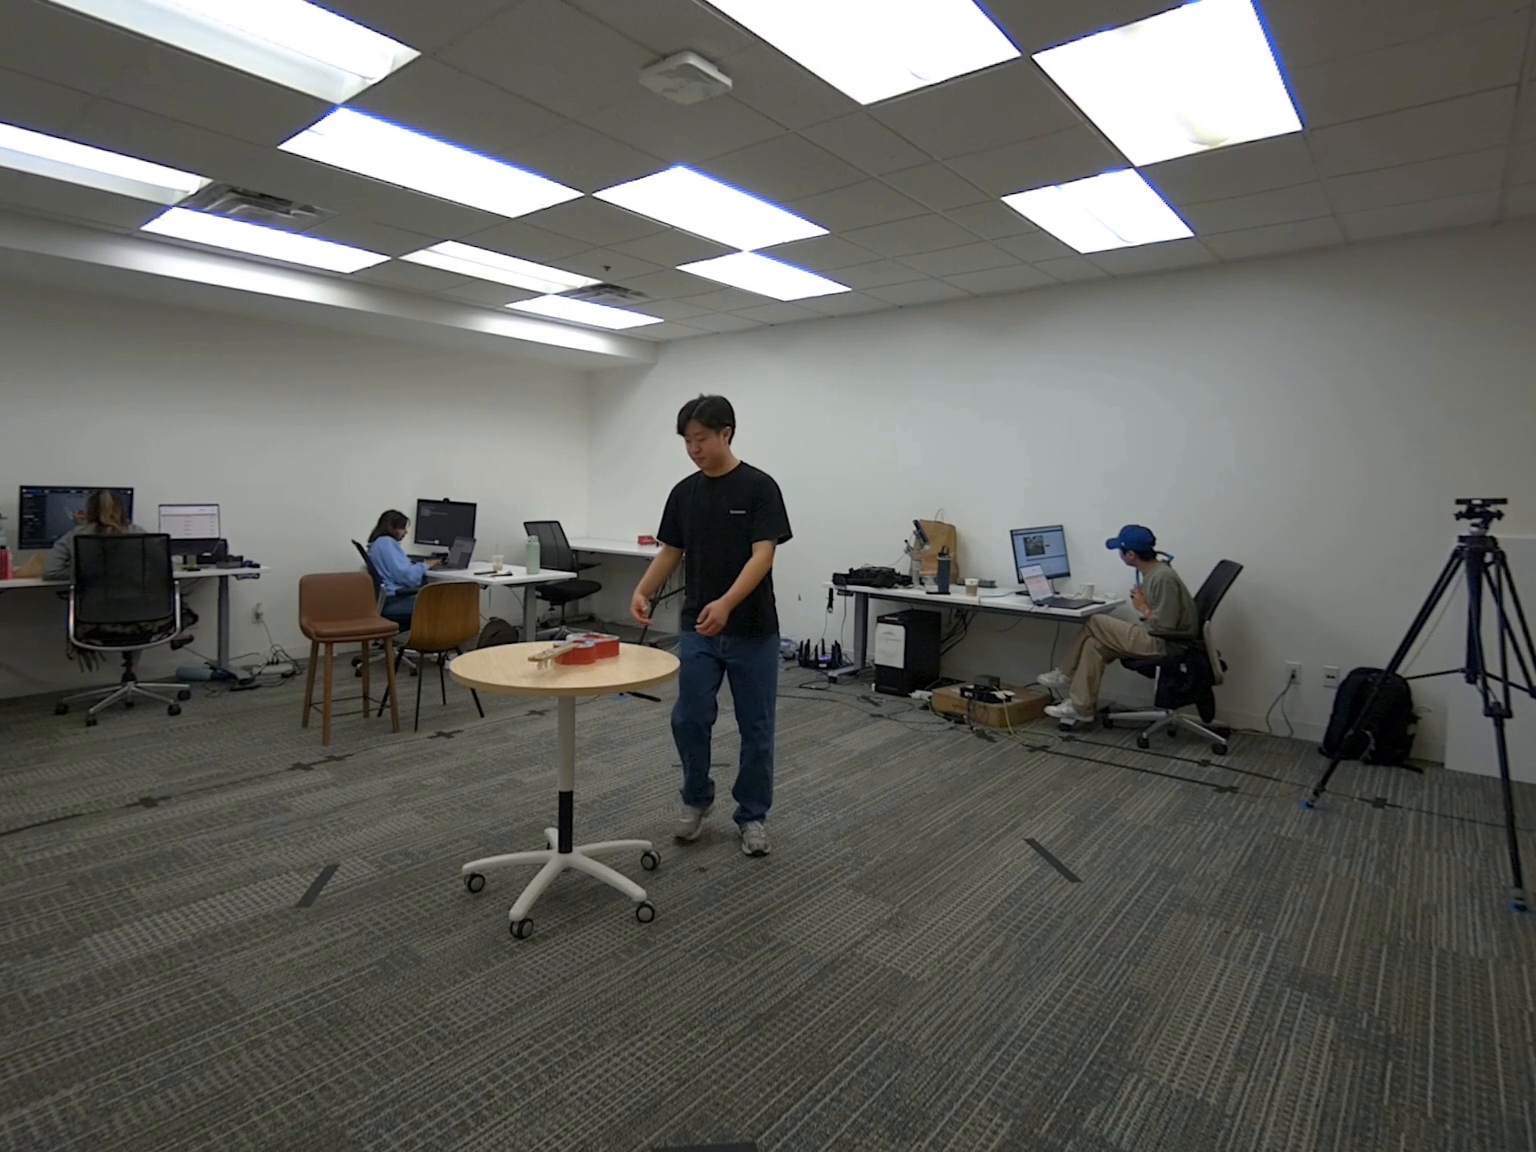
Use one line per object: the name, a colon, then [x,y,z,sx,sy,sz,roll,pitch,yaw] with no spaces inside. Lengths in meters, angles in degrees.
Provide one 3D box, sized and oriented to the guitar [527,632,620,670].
guitar: [-0.713,0.258,2.859,0.198,0.070,0.487,4,6,23]
